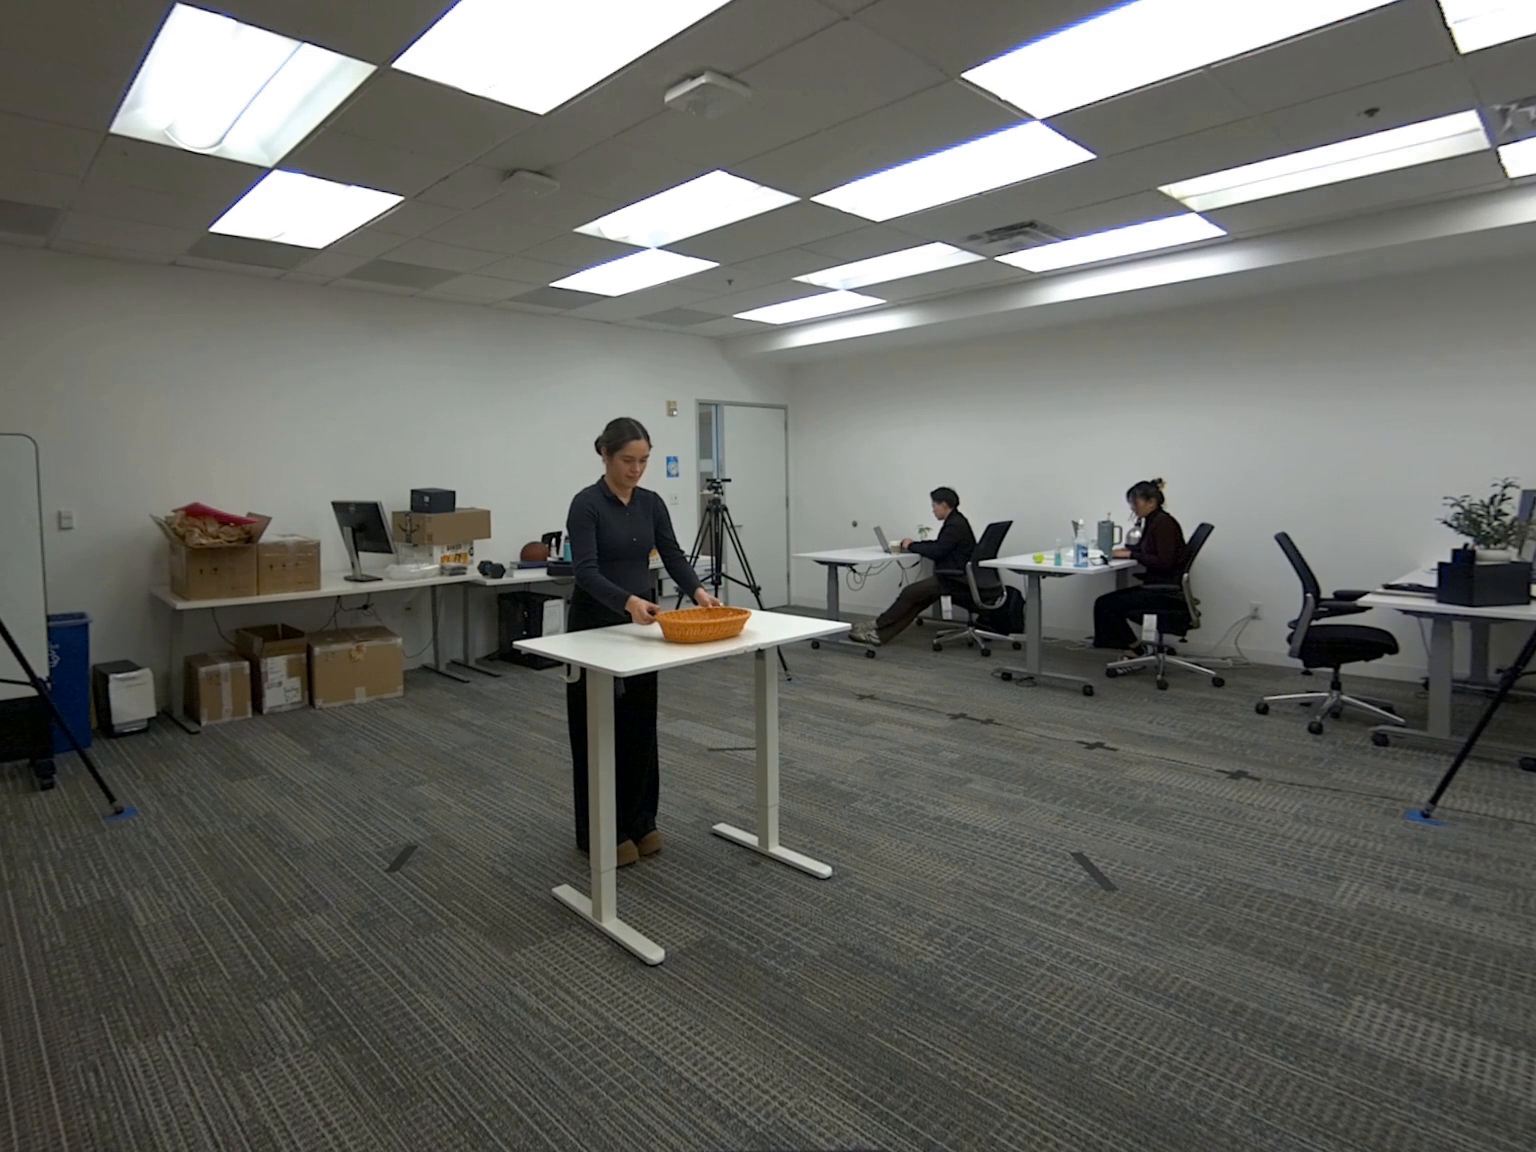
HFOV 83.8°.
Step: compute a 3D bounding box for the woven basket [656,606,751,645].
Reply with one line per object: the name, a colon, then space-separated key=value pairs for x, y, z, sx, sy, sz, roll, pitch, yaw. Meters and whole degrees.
woven basket: x=-0.226 y=0.165 z=2.810 sx=0.341 sy=0.073 sz=0.260 roll=-6 pitch=9 yaw=-43
